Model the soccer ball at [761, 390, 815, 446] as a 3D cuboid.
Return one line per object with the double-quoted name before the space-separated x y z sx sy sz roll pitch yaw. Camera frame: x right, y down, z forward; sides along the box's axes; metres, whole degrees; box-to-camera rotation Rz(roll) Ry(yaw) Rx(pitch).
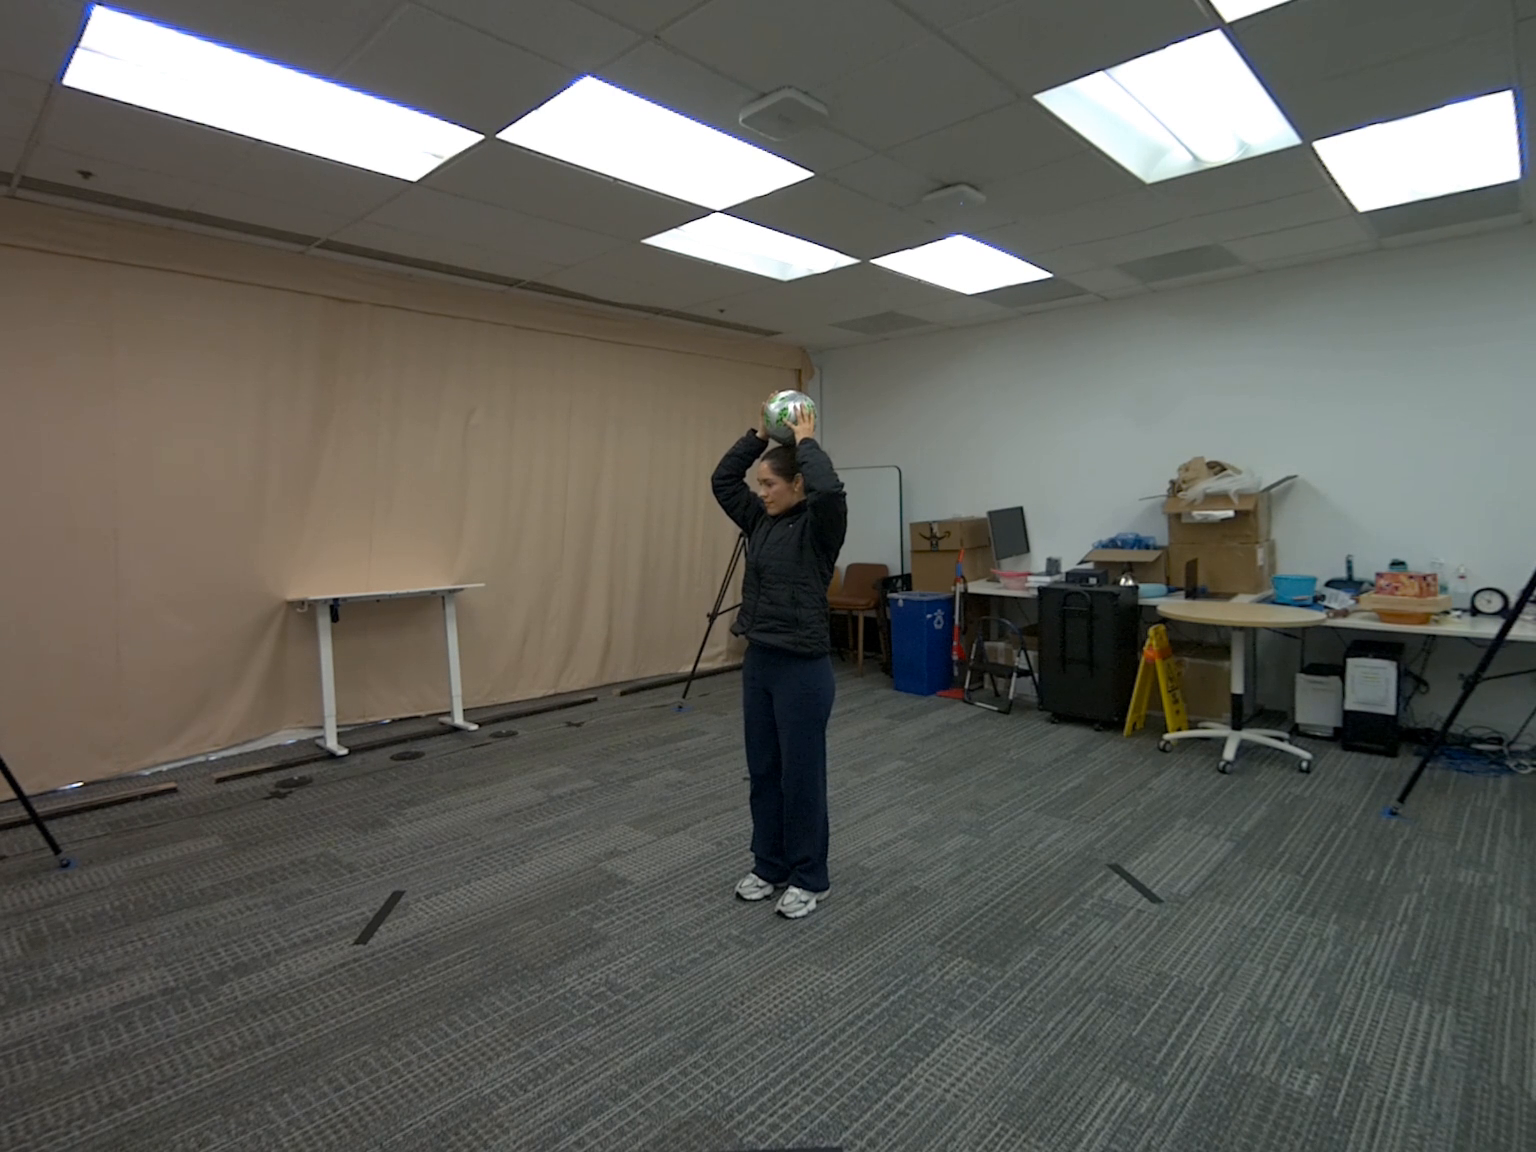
"soccer ball" 0.078 -0.542 2.895 0.187 0.187 0.188 -1 4 -2
